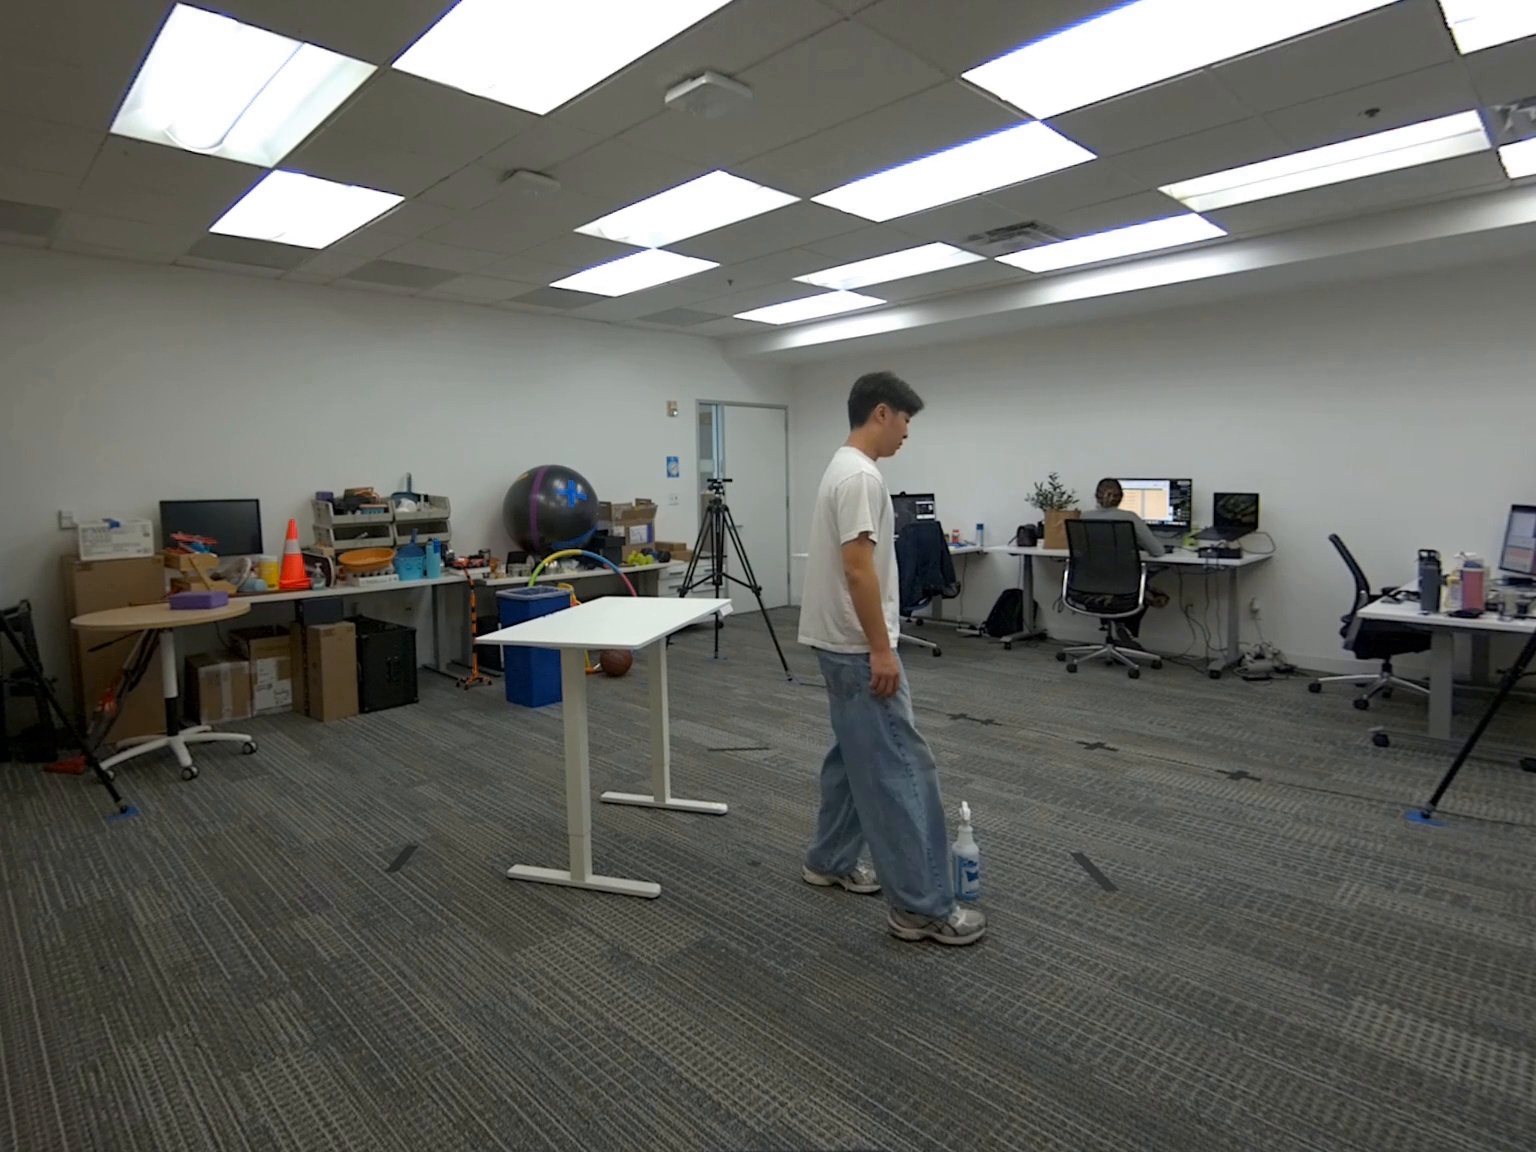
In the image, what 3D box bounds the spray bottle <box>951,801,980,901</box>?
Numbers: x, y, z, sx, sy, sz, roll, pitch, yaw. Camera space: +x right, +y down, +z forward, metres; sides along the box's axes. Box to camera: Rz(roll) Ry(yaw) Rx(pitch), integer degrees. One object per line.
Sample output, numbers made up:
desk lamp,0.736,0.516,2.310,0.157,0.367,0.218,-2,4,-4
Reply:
spray bottle,0.649,0.916,2.849,0.089,0.297,0.088,0,2,35
